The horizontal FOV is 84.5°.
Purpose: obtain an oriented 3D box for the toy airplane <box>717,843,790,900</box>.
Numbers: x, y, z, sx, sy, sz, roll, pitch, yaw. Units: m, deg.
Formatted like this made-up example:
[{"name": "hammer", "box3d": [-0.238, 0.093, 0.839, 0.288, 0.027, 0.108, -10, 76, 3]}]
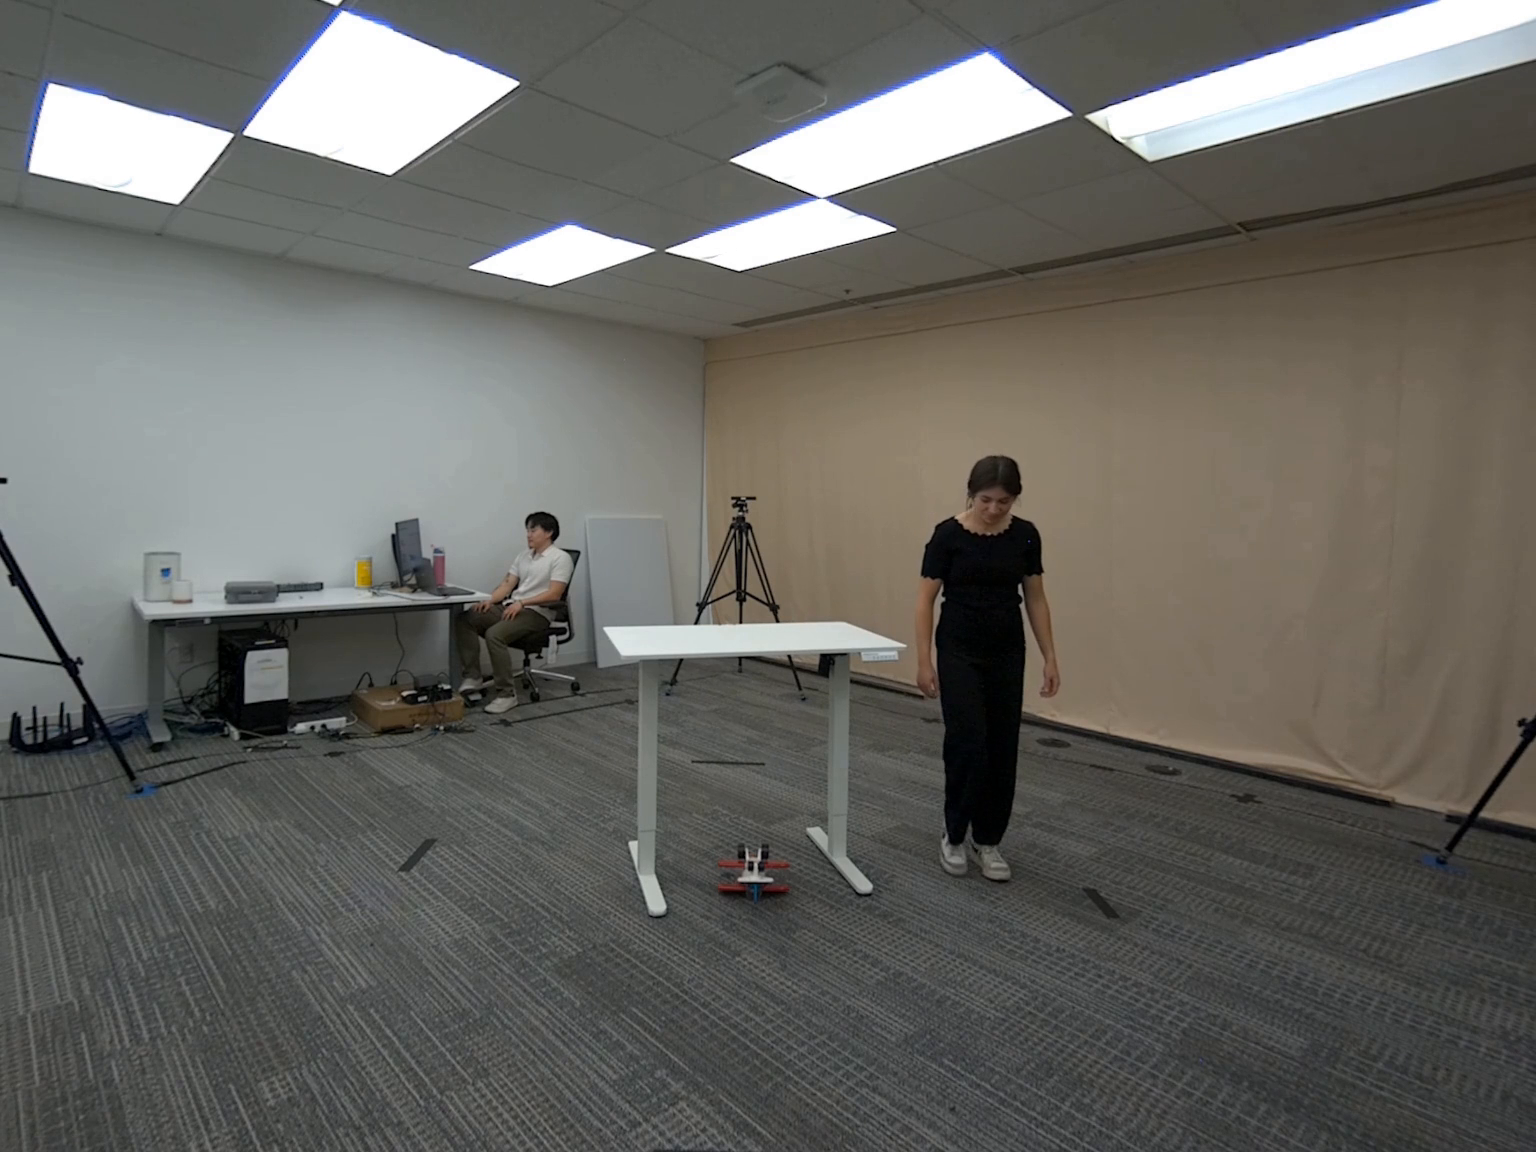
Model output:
[{"name": "toy airplane", "box3d": [-0.074, 1.040, 2.939, 0.256, 0.156, 0.254, 1, 1, 26]}]
